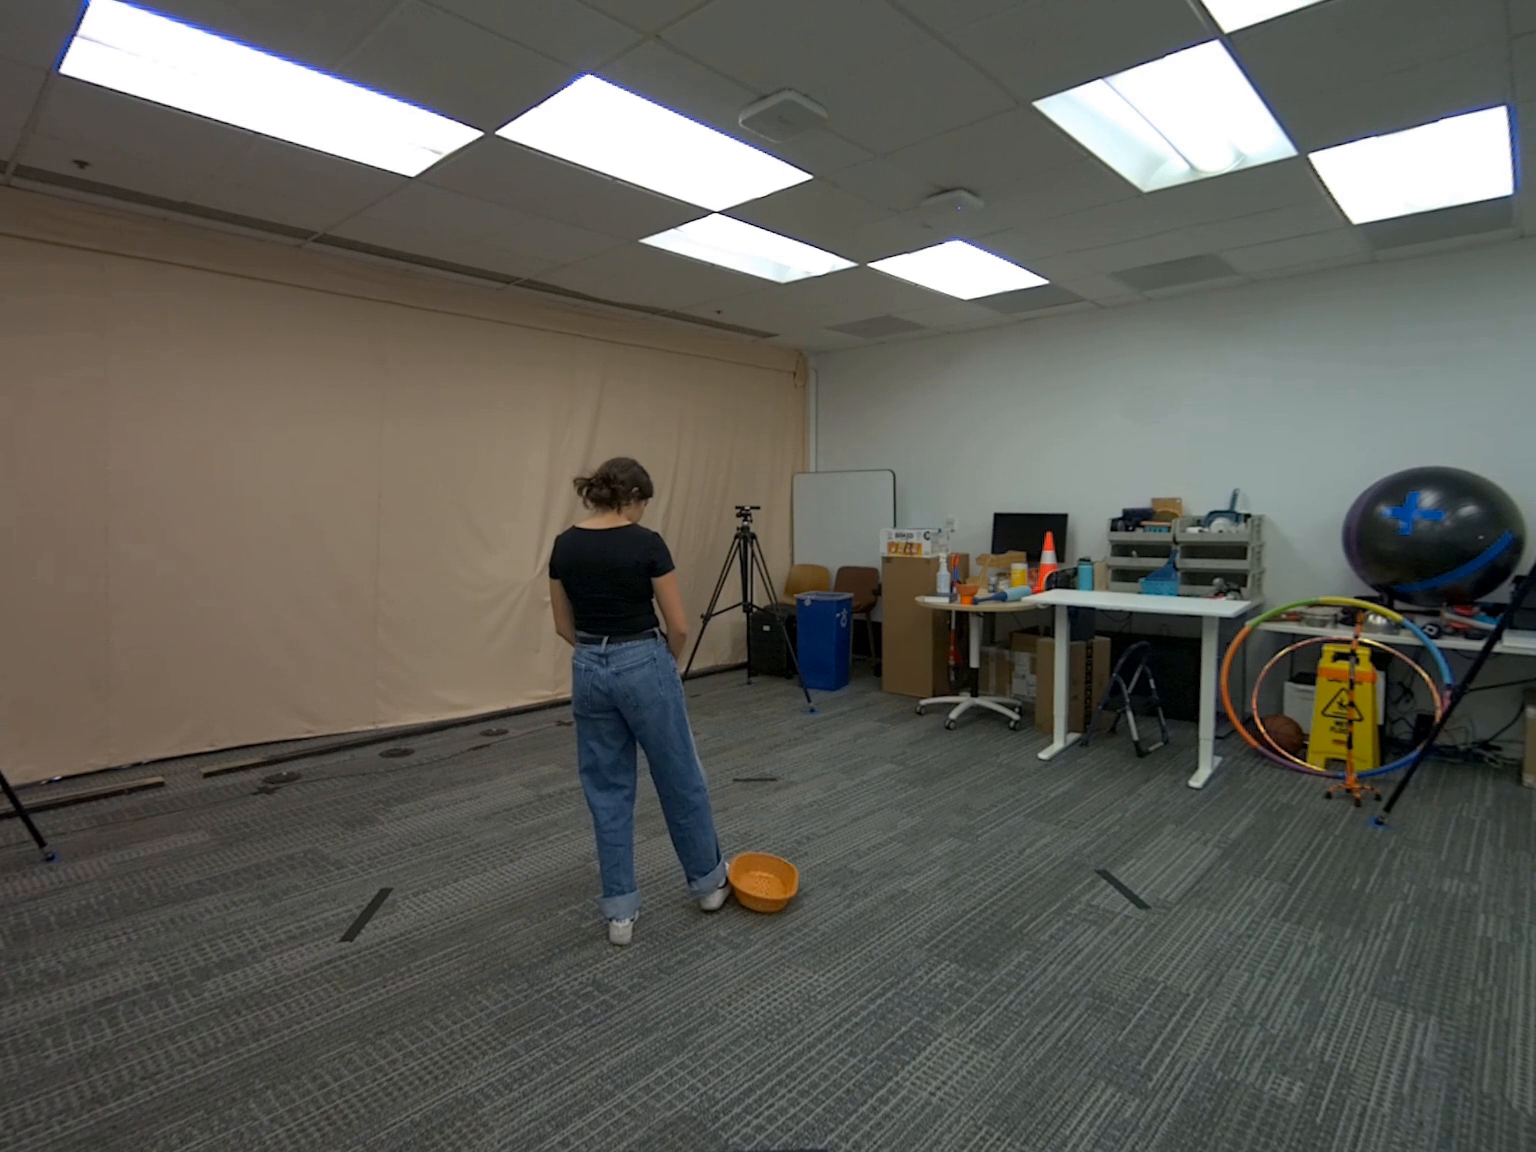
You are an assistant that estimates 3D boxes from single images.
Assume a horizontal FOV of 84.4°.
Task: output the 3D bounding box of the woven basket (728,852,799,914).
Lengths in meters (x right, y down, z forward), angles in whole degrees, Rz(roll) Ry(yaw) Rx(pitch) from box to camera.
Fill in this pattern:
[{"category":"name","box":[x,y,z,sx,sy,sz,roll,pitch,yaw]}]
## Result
[{"category":"woven basket","box":[-0.019,1.092,2.995,0.255,0.073,0.347,10,6,8]}]
